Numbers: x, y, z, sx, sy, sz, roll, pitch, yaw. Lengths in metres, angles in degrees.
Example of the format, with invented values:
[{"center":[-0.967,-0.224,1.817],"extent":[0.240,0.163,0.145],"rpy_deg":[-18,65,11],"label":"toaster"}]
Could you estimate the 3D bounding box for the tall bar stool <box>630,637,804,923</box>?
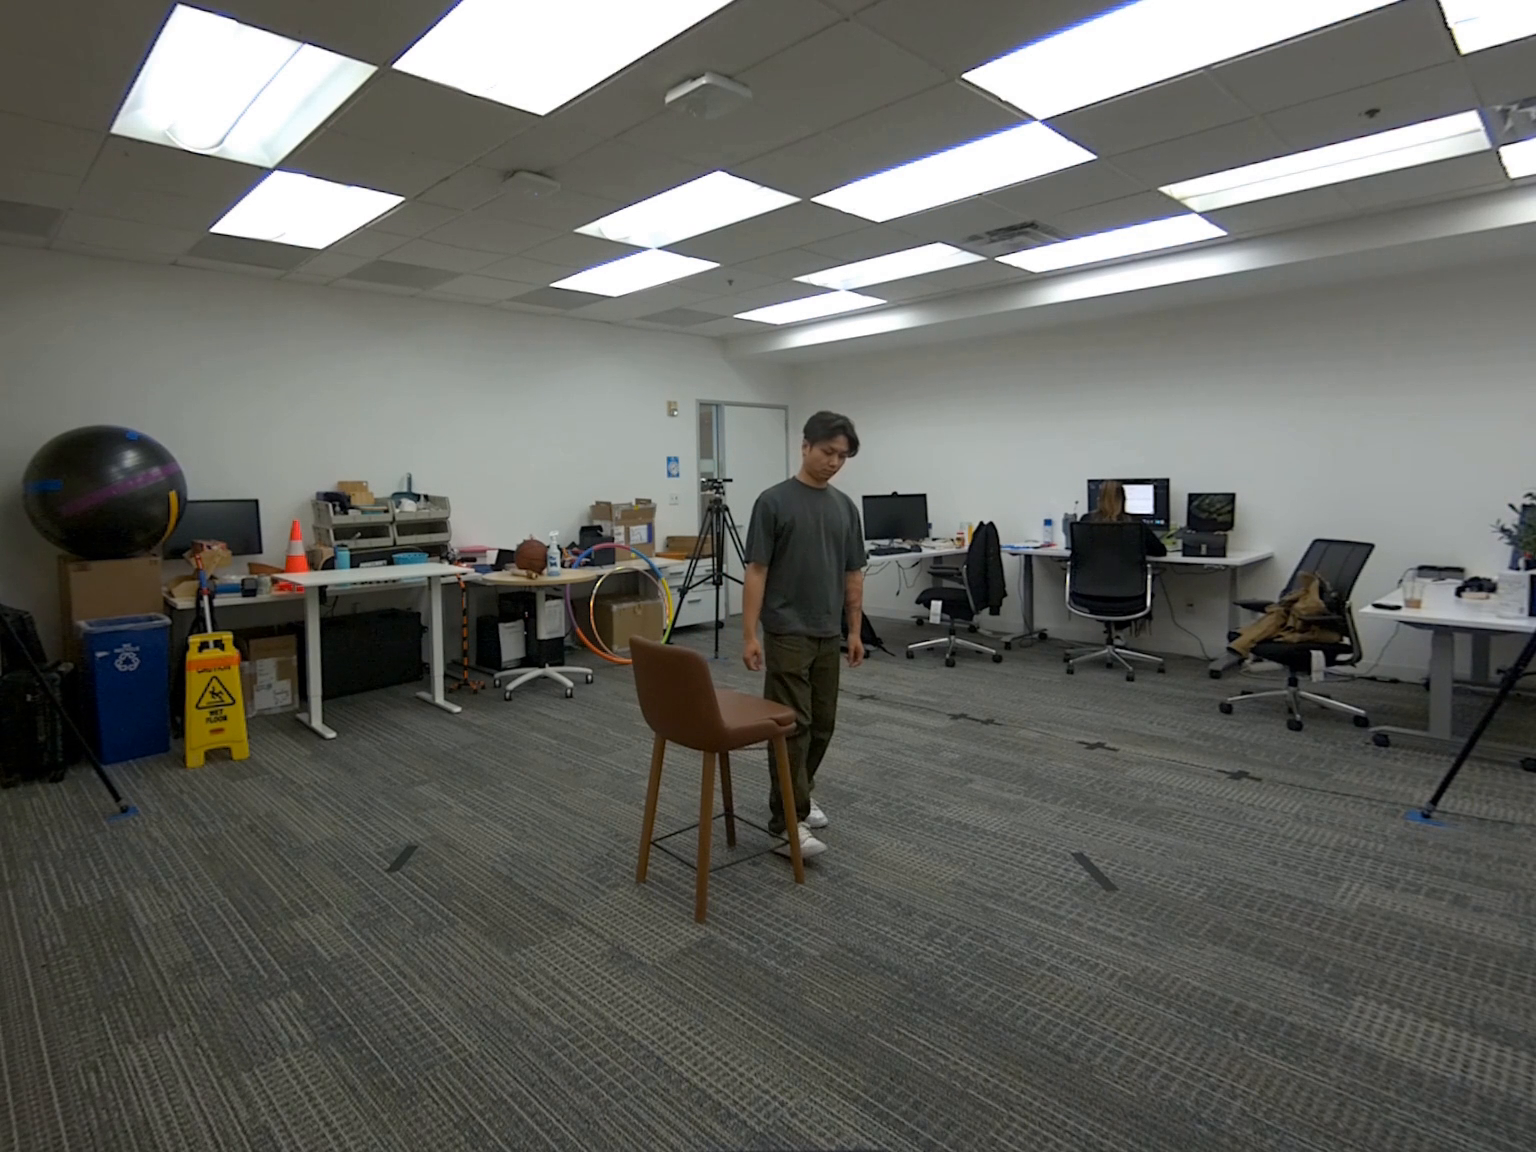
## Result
[{"center":[-0.184,0.628,2.941],"extent":[0.456,0.885,0.470],"rpy_deg":[-7,7,-40],"label":"tall bar stool"}]
